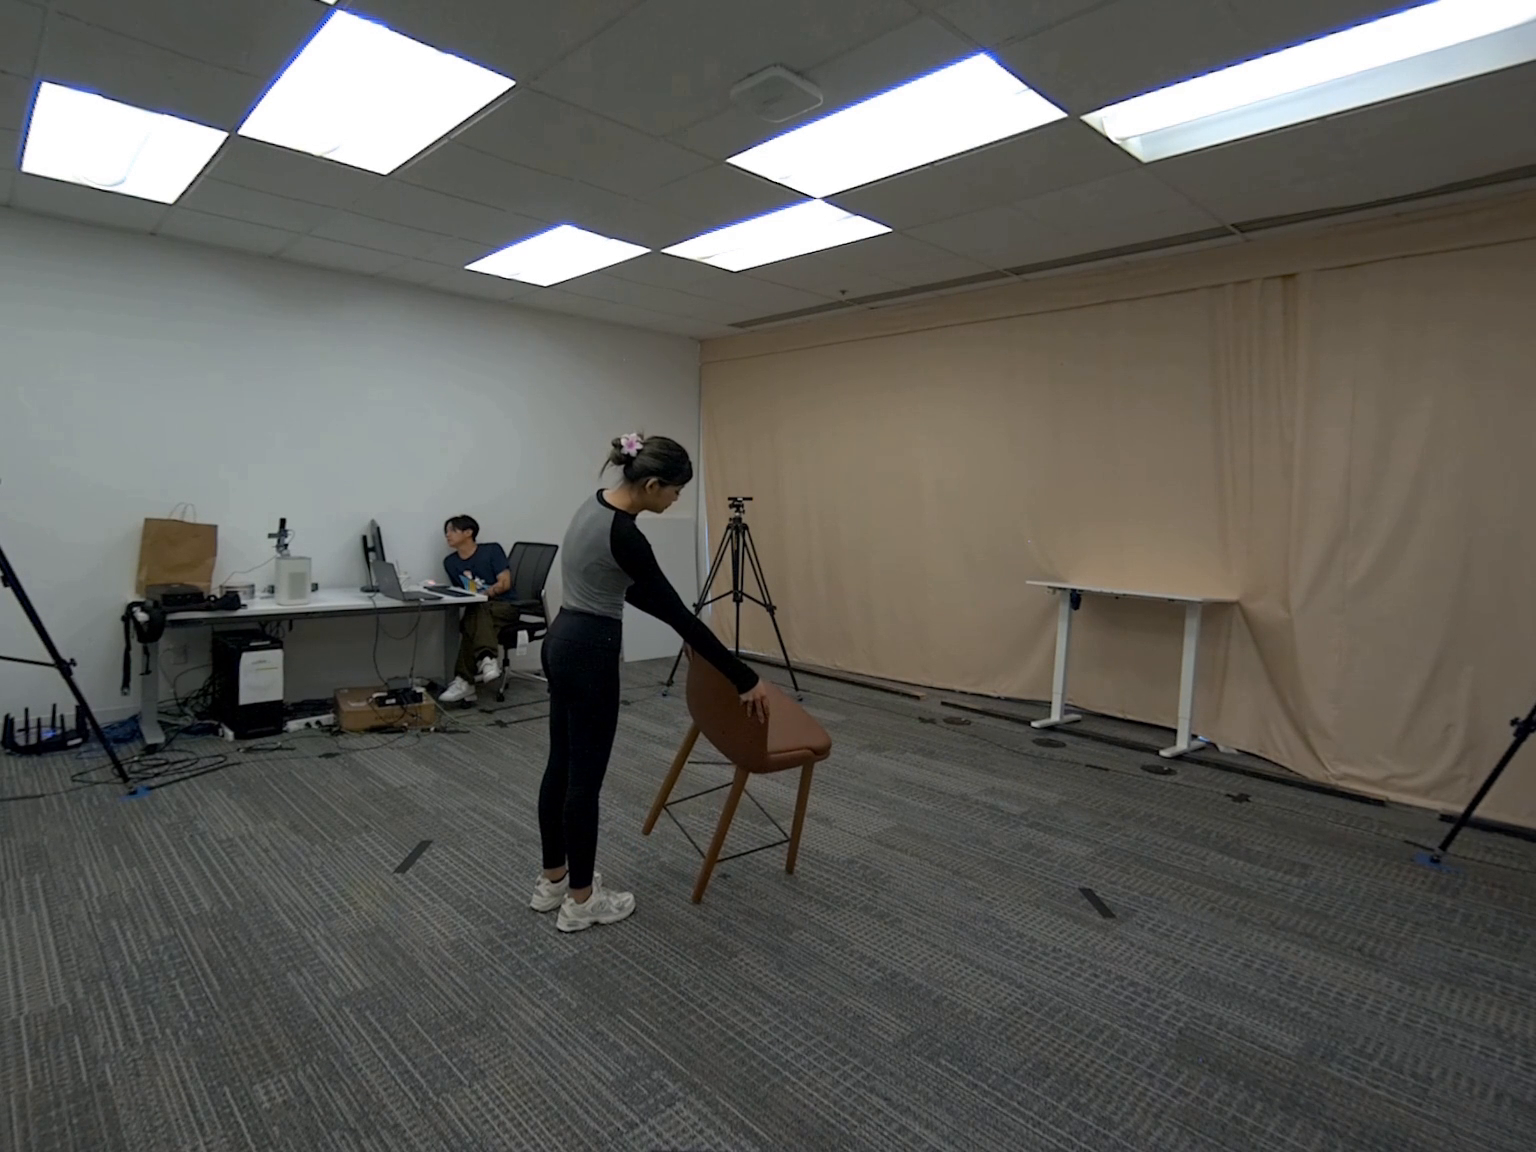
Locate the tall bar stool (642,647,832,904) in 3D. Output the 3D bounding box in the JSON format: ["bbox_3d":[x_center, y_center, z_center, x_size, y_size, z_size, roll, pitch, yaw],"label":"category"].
[{"bbox_3d":[-0.096,0.641,2.989,0.458,0.880,0.471,-5,29,-39],"label":"tall bar stool"}]
